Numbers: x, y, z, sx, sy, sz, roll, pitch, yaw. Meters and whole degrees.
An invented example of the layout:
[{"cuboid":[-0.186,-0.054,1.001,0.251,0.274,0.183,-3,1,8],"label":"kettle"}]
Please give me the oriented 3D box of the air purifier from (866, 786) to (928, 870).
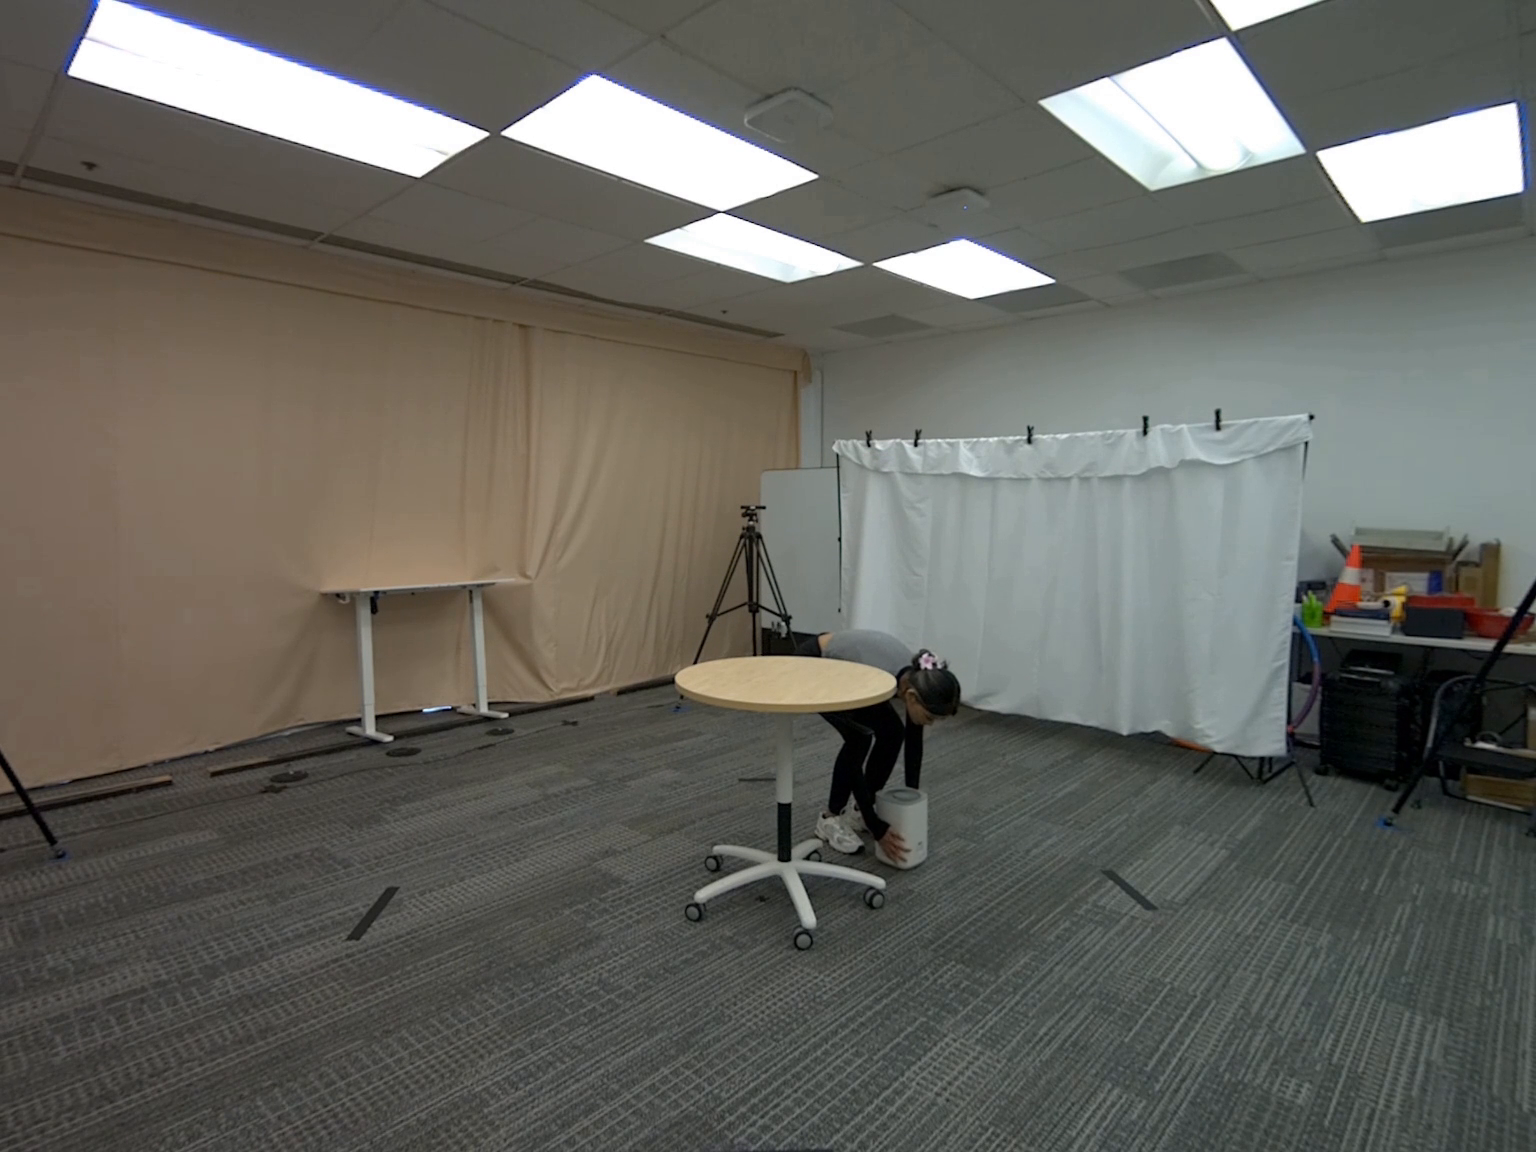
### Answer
[{"cuboid":[0.526,0.973,3.277,0.177,0.264,0.166,4,7,42],"label":"air purifier"}]
